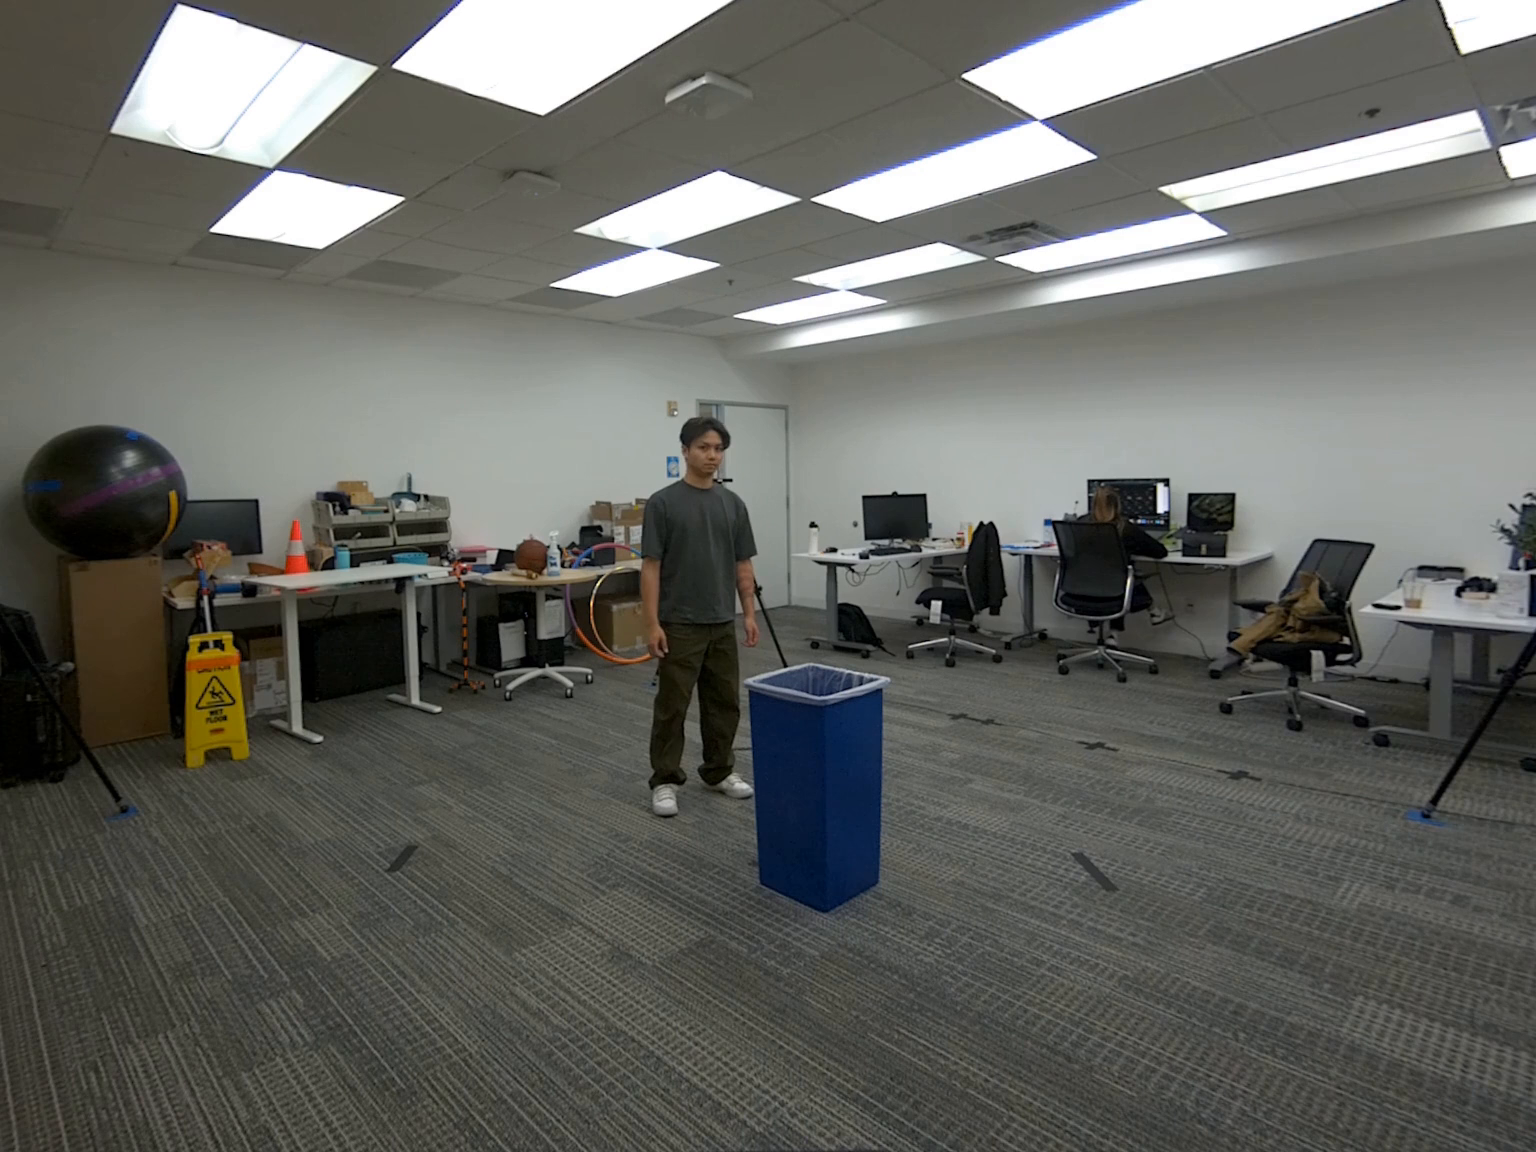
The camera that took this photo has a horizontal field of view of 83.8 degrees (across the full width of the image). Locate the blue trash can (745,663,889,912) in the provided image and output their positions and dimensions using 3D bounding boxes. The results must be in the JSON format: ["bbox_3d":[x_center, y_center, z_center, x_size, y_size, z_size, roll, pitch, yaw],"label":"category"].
[{"bbox_3d":[0.182,0.705,2.924,0.385,0.711,0.368,2,5,44],"label":"blue trash can"}]
